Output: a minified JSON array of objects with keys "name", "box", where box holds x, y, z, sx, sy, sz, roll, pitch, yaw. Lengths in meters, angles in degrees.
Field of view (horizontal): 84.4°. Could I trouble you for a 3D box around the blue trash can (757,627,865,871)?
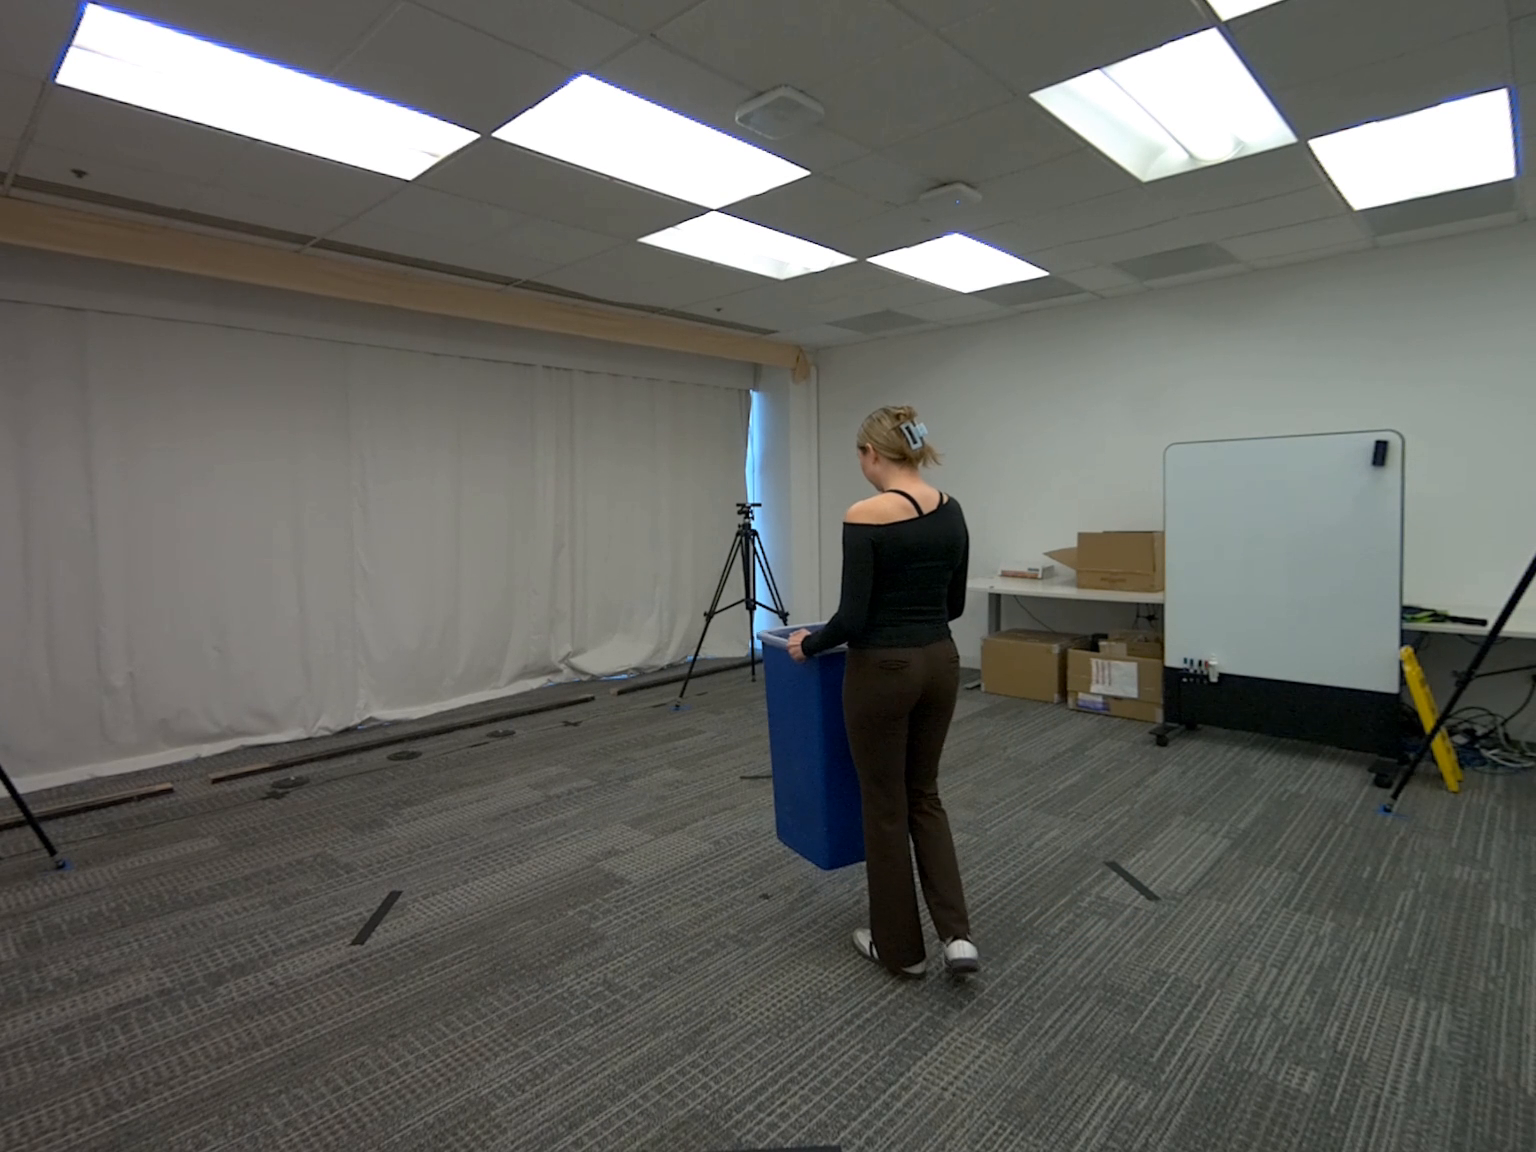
[{"name":"blue trash can","box":[0.215,0.541,2.767,0.365,0.712,0.388,-5,4,-28]}]
